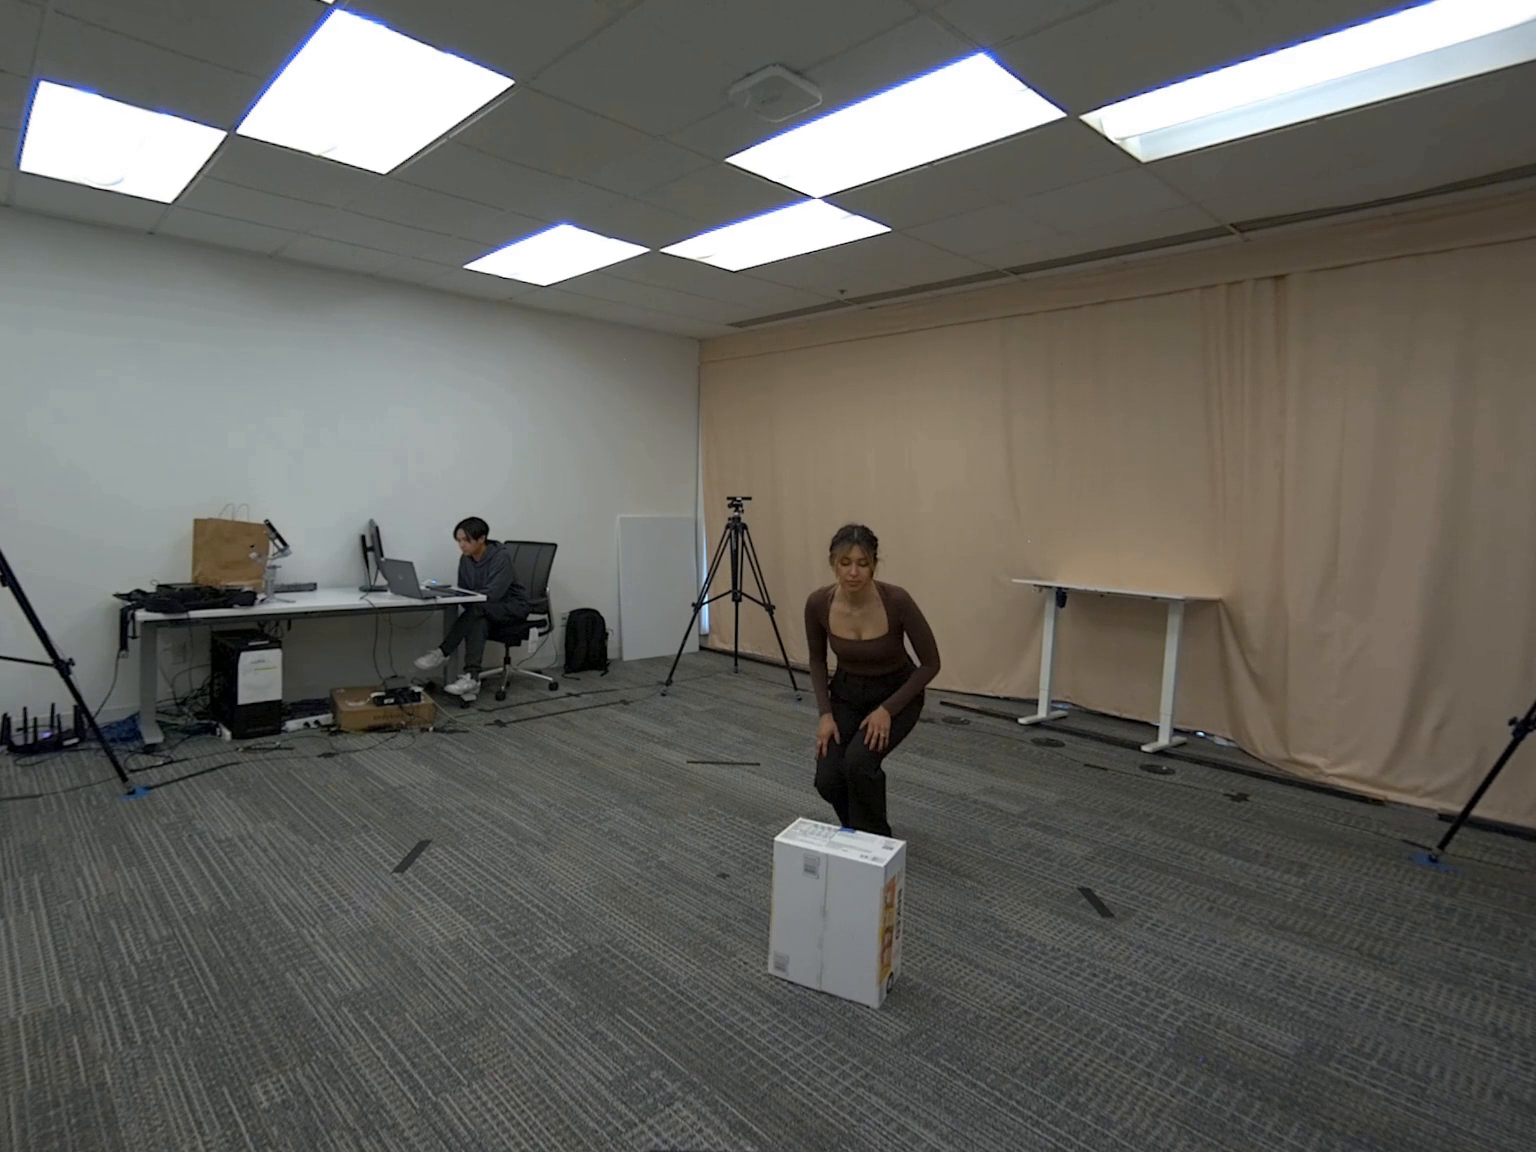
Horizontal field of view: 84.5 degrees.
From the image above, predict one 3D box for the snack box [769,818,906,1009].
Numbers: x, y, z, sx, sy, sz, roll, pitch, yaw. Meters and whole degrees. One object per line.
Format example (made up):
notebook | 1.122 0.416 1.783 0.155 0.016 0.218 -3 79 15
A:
snack box | 0.197 0.968 2.461 0.347 0.404 0.202 4 4 27
